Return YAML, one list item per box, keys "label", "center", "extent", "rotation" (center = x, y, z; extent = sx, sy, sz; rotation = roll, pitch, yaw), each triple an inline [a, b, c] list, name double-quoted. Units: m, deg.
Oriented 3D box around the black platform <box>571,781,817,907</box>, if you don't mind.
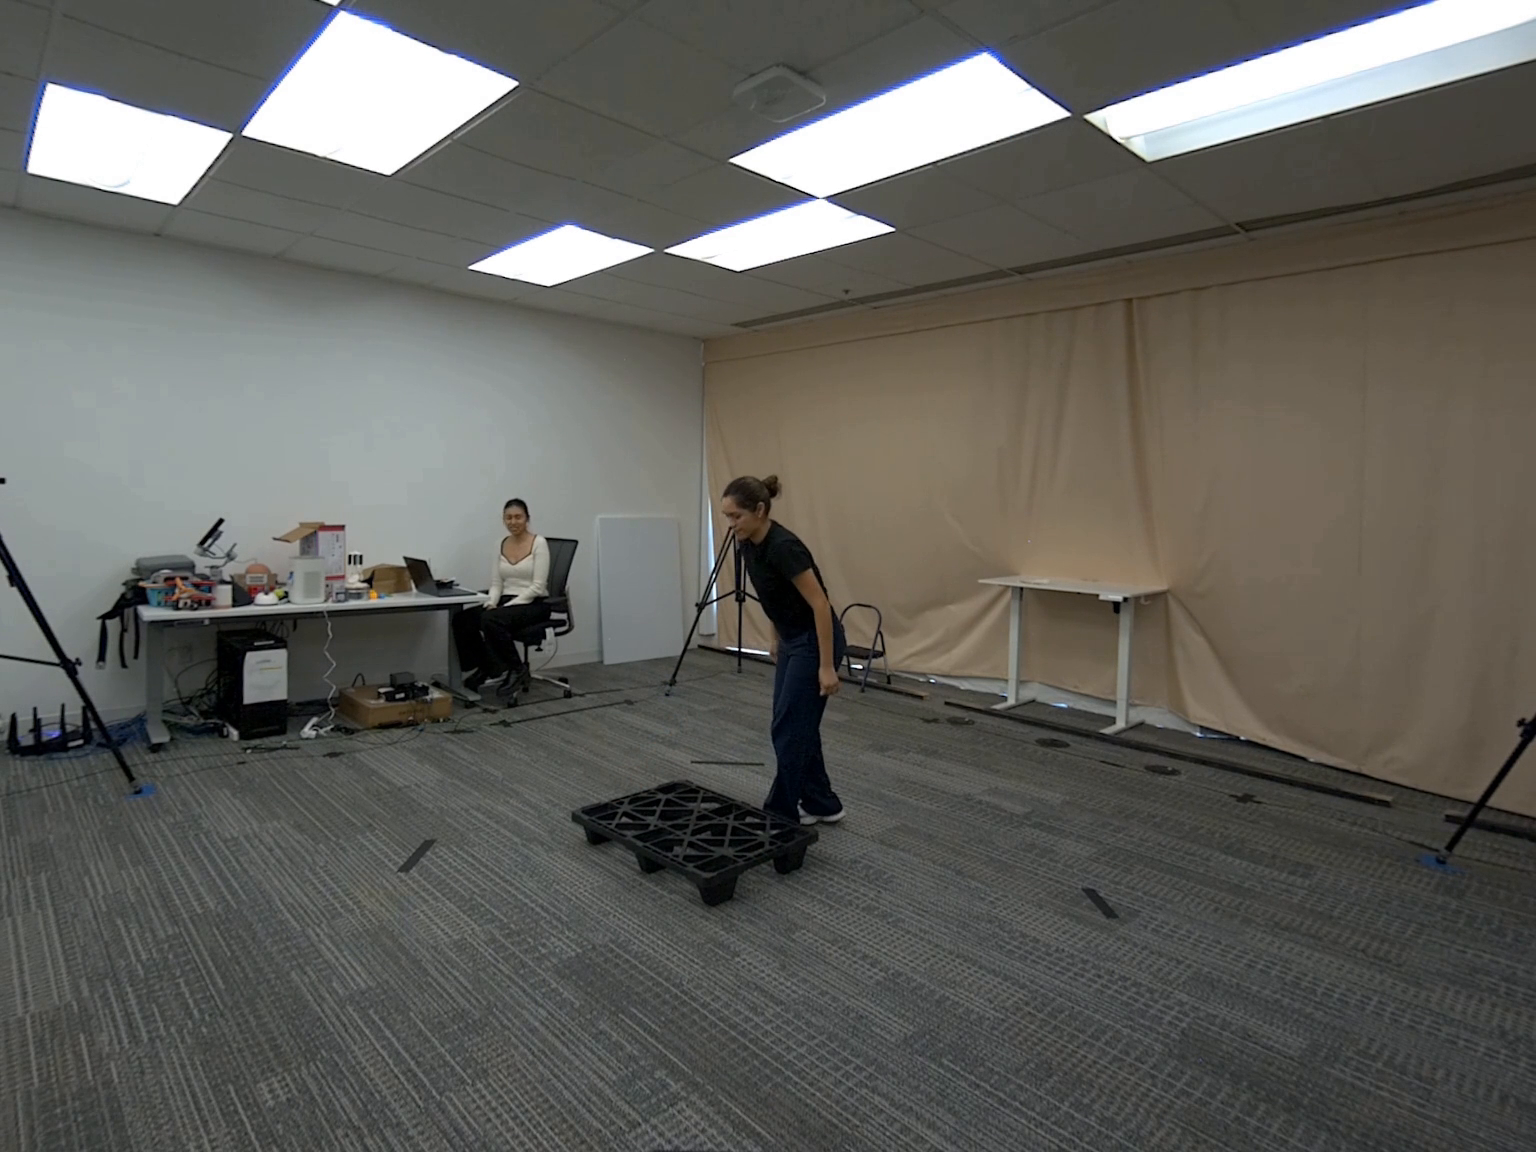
- label: "black platform"
  center: [-0.303, 1.024, 3.266]
  extent: [0.826, 0.143, 0.591]
  rotation: [6, 7, 43]
